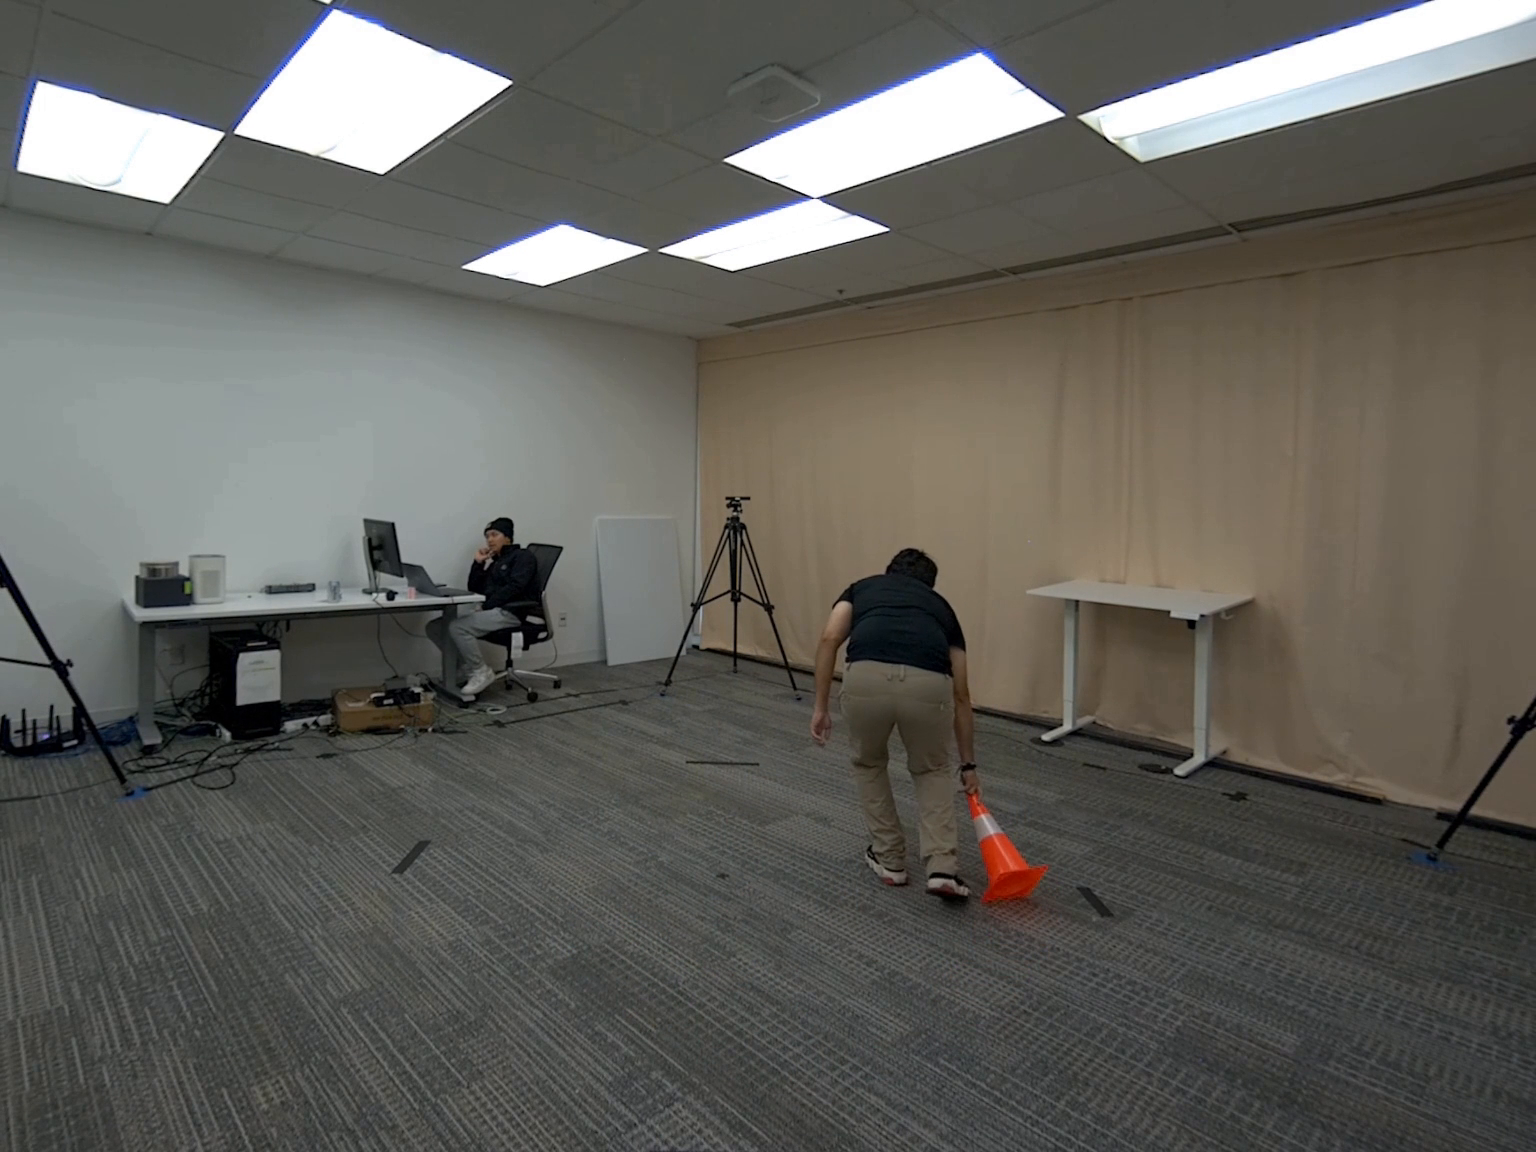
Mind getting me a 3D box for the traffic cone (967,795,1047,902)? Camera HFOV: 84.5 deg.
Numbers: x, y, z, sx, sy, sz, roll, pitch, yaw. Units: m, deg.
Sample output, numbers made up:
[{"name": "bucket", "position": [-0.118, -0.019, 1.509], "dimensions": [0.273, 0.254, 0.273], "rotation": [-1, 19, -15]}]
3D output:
[{"name": "traffic cone", "position": [0.797, 0.940, 3.057], "dimensions": [0.201, 0.202, 0.395], "rotation": [-3, 41, -18]}]
